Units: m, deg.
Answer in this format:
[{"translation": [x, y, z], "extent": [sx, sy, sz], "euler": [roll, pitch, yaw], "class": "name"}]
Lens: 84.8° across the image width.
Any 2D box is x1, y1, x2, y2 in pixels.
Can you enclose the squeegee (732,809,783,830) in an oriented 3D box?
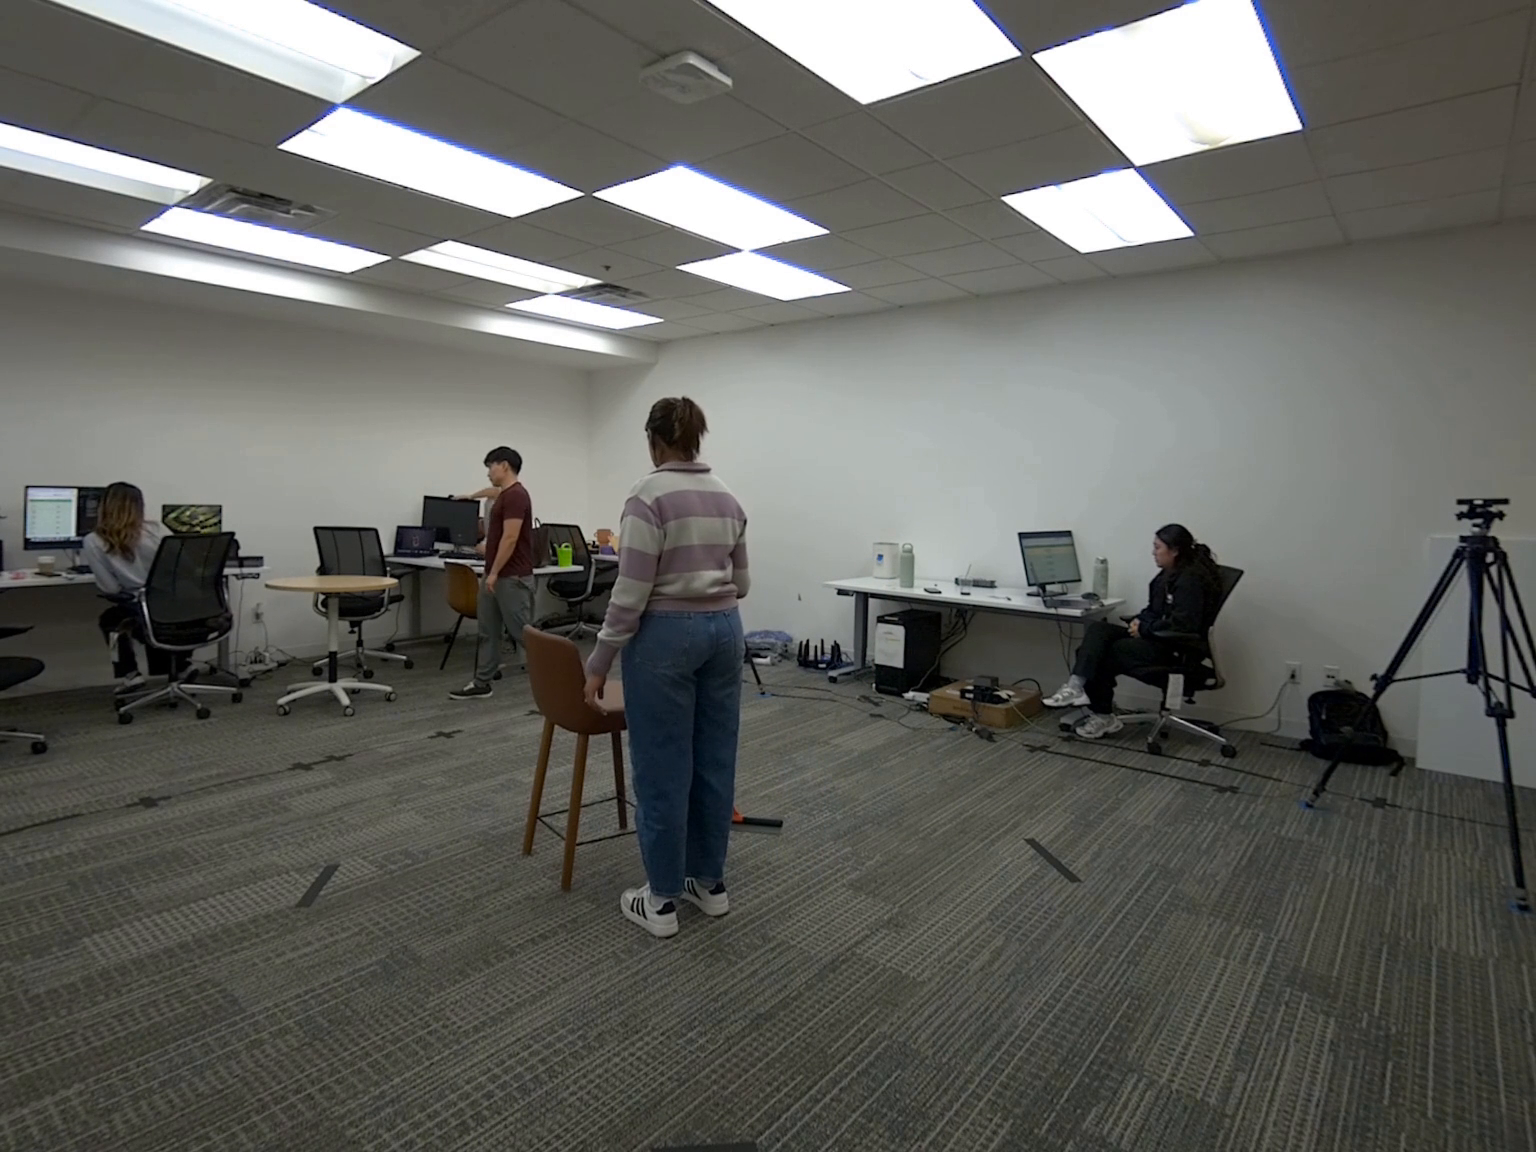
[{"translation": [-0.266, 0.183, 3.151], "extent": [0.447, 1.534, 0.052], "euler": [-6, 2, 26], "class": "squeegee"}]
